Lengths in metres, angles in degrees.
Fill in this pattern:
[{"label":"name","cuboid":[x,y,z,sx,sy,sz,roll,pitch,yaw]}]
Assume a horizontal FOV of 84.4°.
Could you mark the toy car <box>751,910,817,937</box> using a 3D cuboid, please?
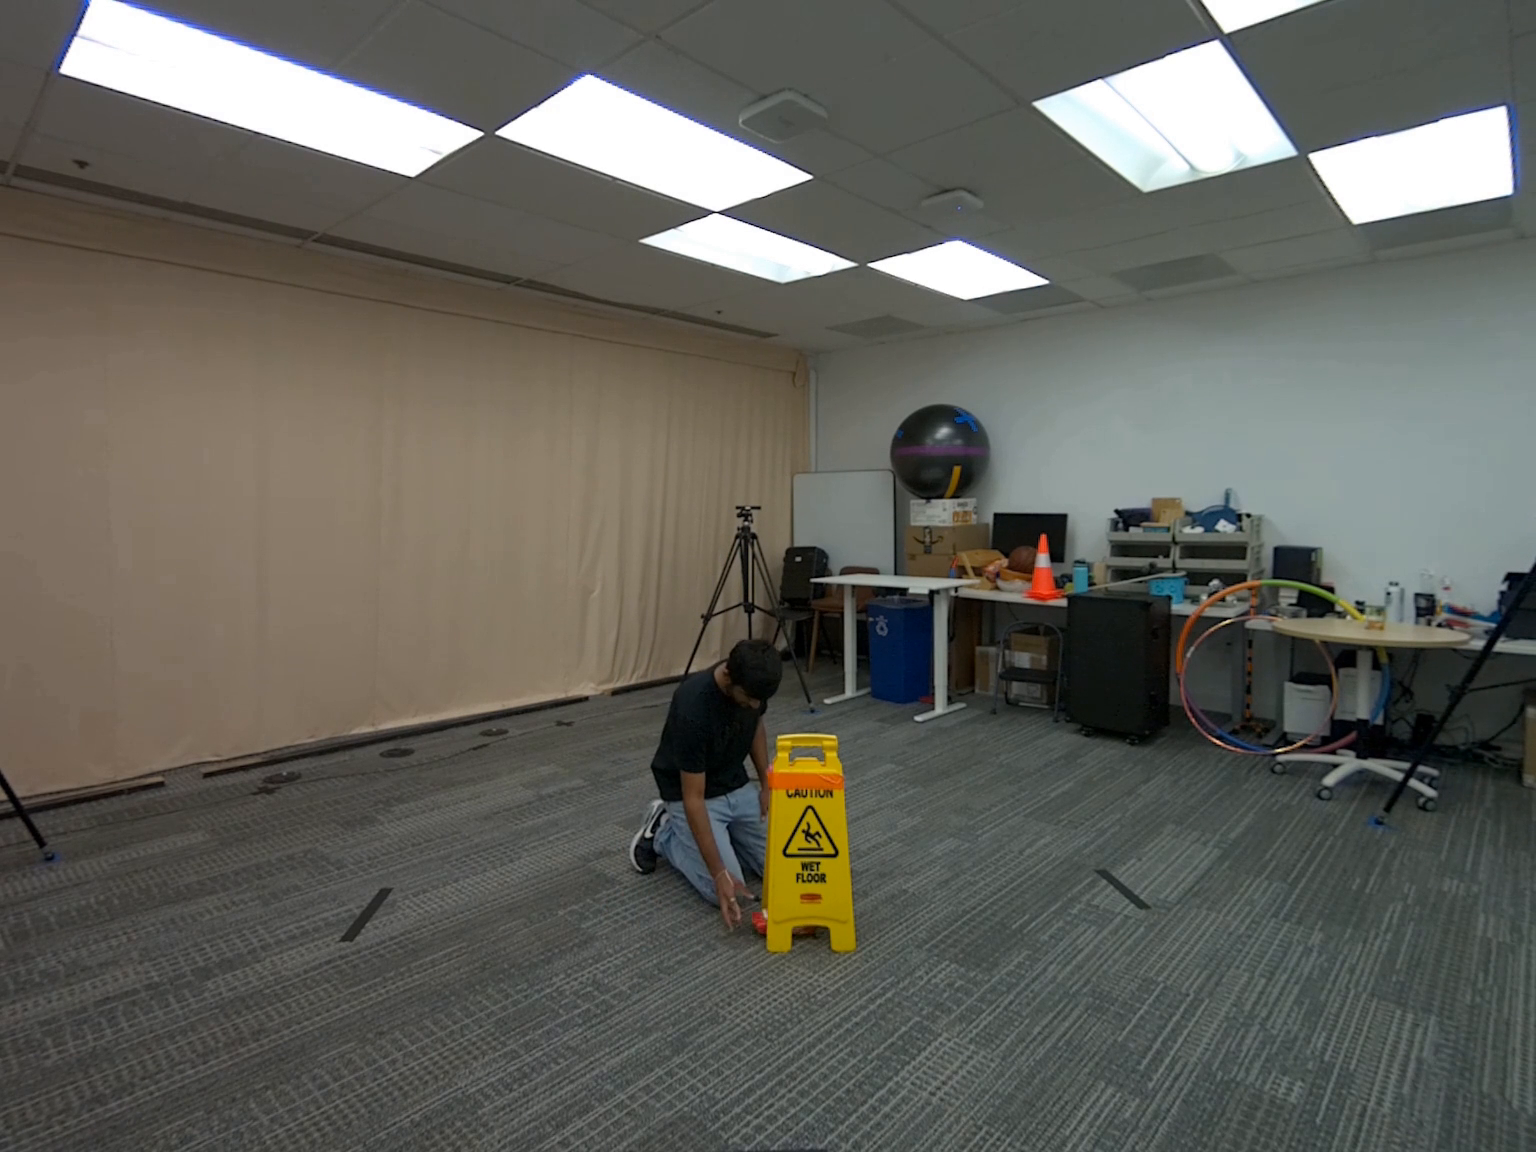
[{"label":"toy car","cuboid":[0.048,1.126,2.747,0.251,0.083,0.132,8,3,-11]}]
